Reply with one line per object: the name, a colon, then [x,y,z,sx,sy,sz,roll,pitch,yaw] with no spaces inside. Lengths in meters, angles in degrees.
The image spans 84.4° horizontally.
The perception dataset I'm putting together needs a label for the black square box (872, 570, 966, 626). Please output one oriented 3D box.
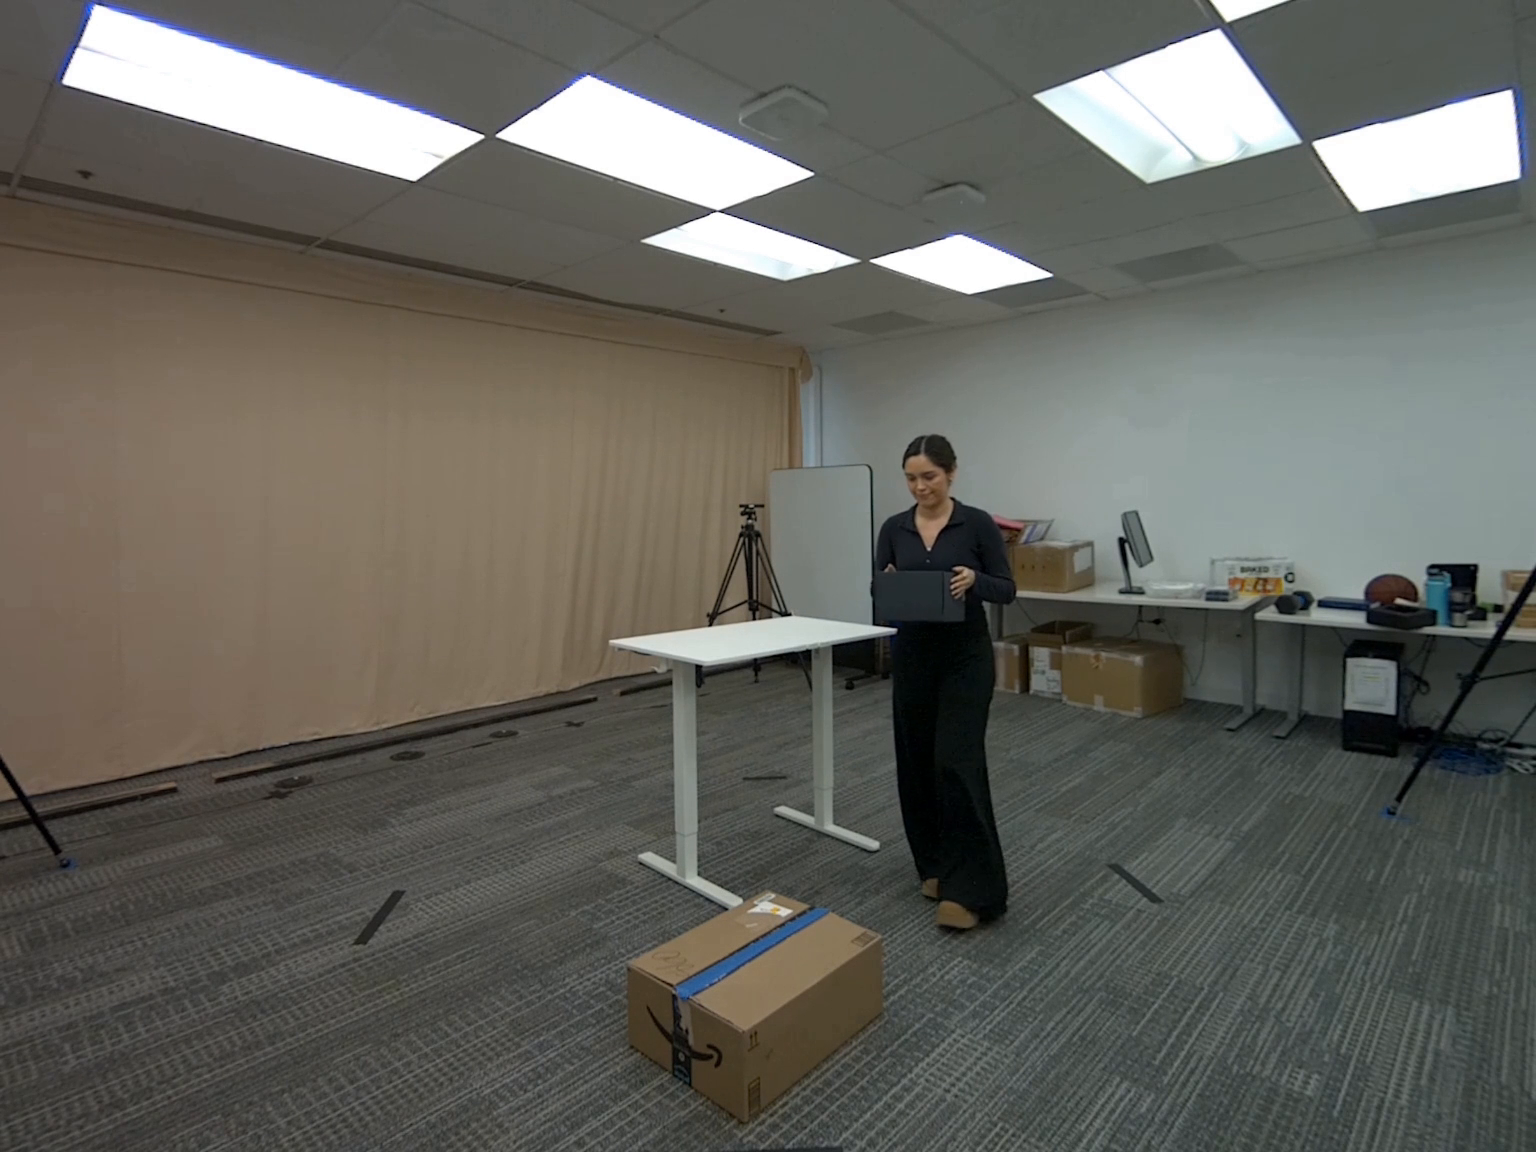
black square box: [0.489,0.068,2.726,0.234,0.156,0.210,-1,-4,31]
